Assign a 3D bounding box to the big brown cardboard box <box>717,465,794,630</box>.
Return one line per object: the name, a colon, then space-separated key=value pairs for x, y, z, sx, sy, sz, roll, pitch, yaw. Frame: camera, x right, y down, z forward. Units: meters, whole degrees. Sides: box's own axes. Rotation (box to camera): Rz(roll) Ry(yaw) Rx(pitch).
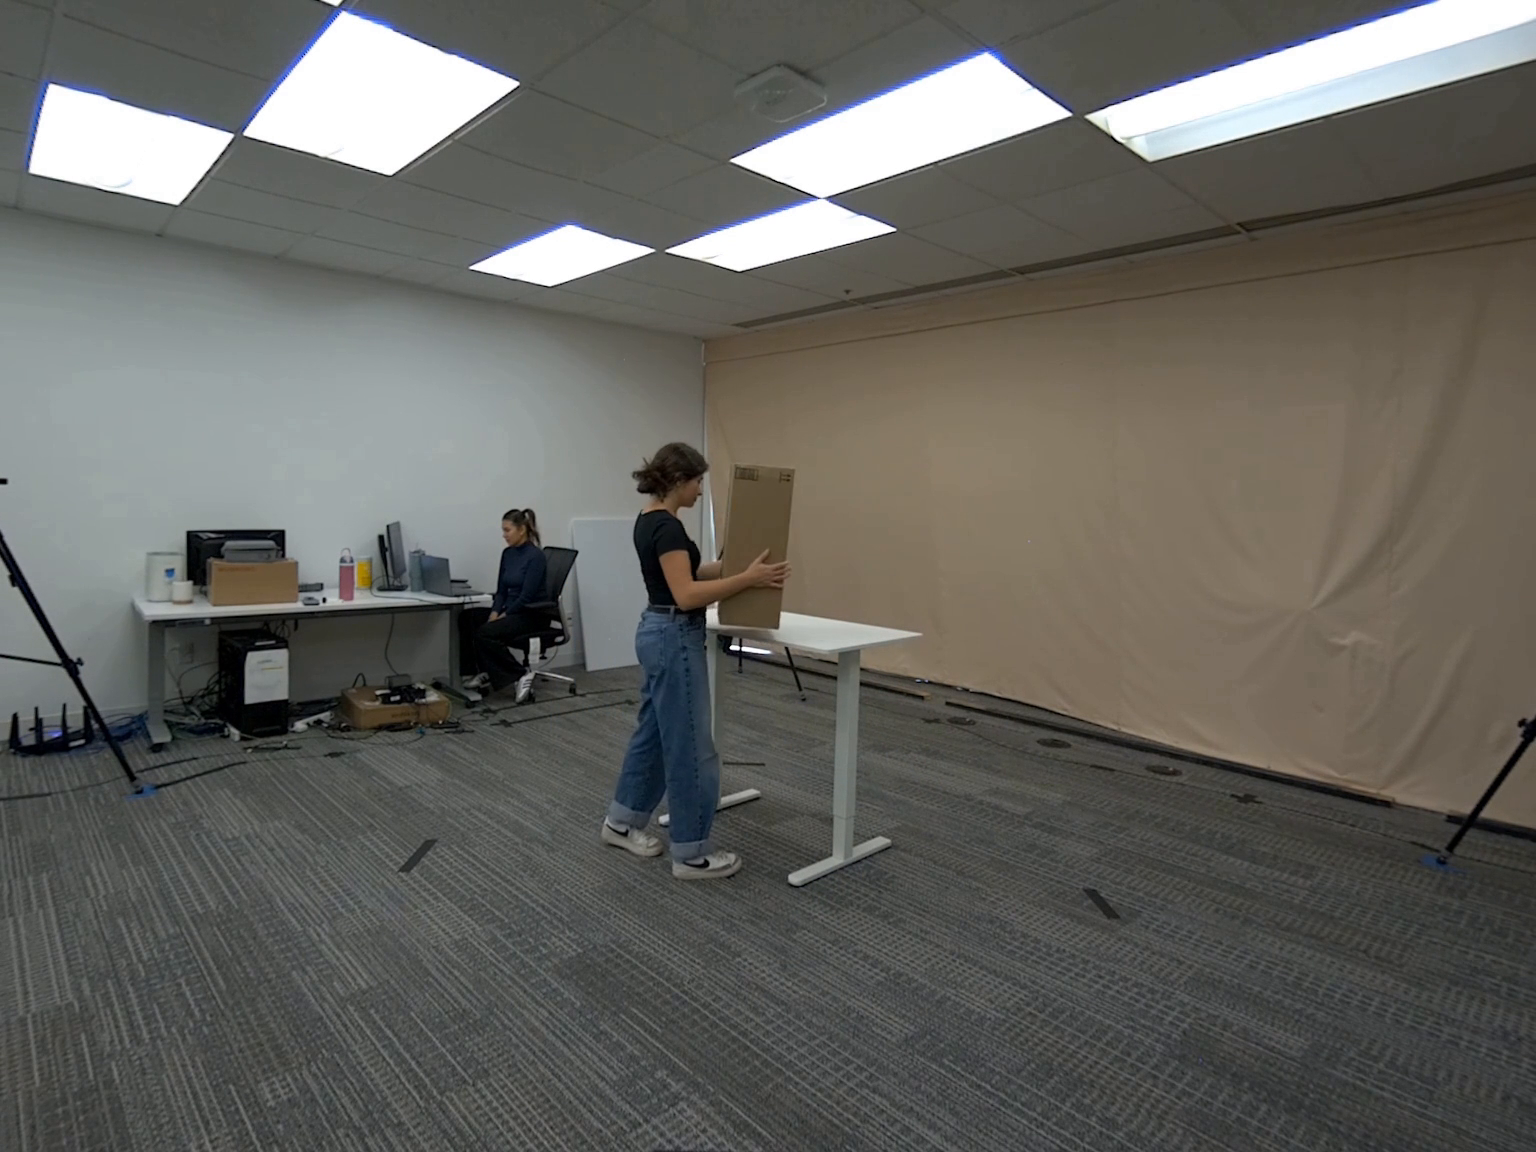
big brown cardboard box: x=-0.063 y=-0.128 z=3.121 sx=0.232 sy=0.586 sz=0.420 roll=6 pitch=7 yaw=-4
